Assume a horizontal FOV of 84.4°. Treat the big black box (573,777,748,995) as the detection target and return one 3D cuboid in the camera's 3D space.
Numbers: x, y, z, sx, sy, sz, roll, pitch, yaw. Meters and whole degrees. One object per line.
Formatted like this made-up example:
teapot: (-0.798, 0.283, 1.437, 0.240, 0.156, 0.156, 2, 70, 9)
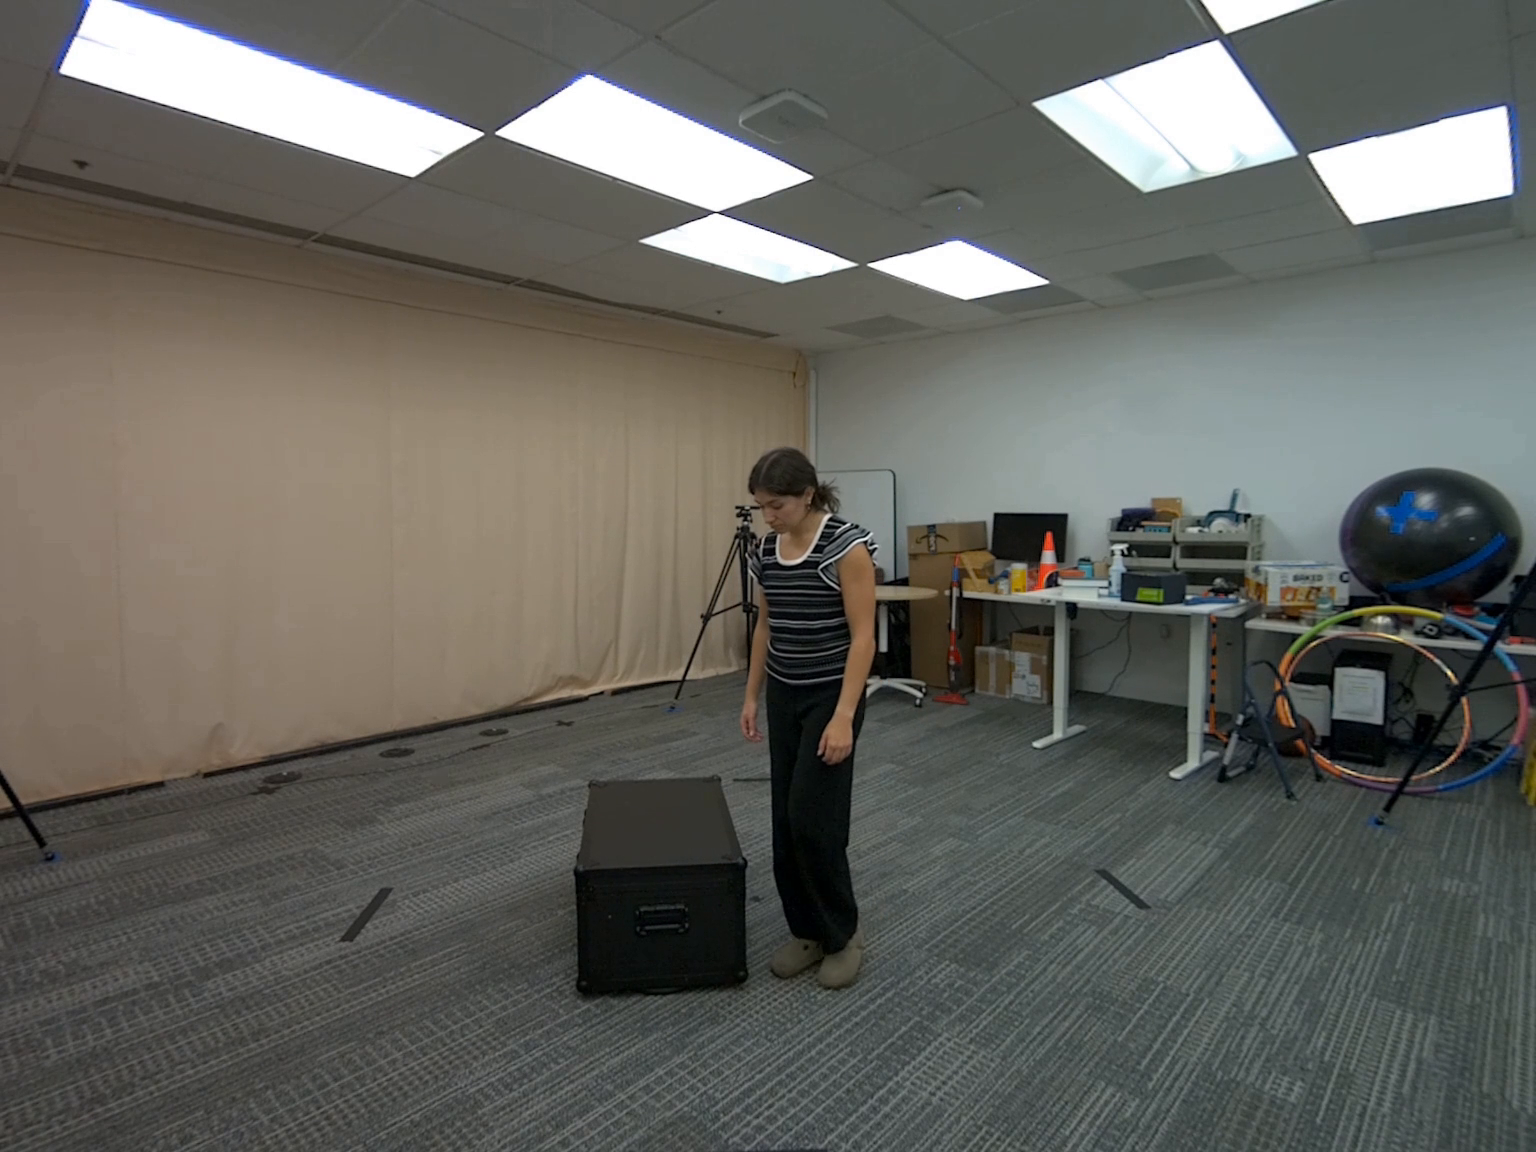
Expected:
big black box: (-0.361, 0.971, 2.807, 0.517, 0.395, 0.871, -1, 5, -8)
